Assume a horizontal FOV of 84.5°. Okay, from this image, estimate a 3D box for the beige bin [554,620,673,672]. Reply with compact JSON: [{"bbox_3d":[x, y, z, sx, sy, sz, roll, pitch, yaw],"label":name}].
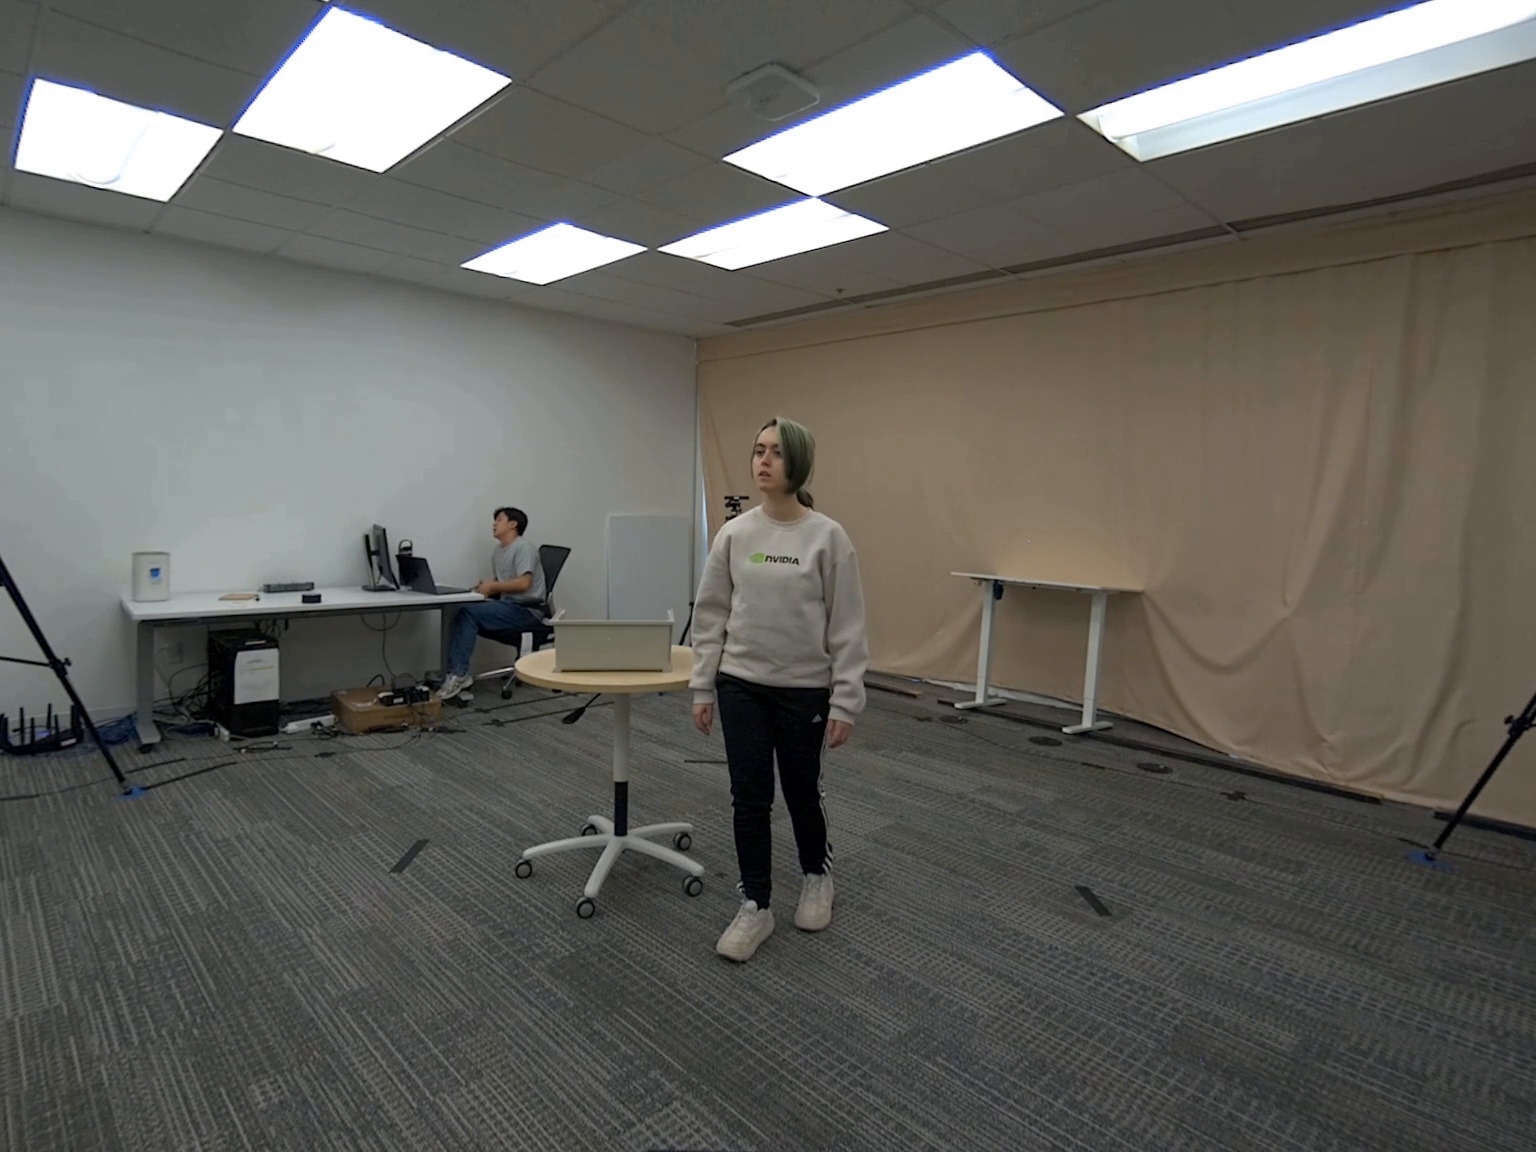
[{"bbox_3d":[-0.561,0.227,3.057,0.420,0.188,0.381,1,6,-7],"label":"beige bin"}]
